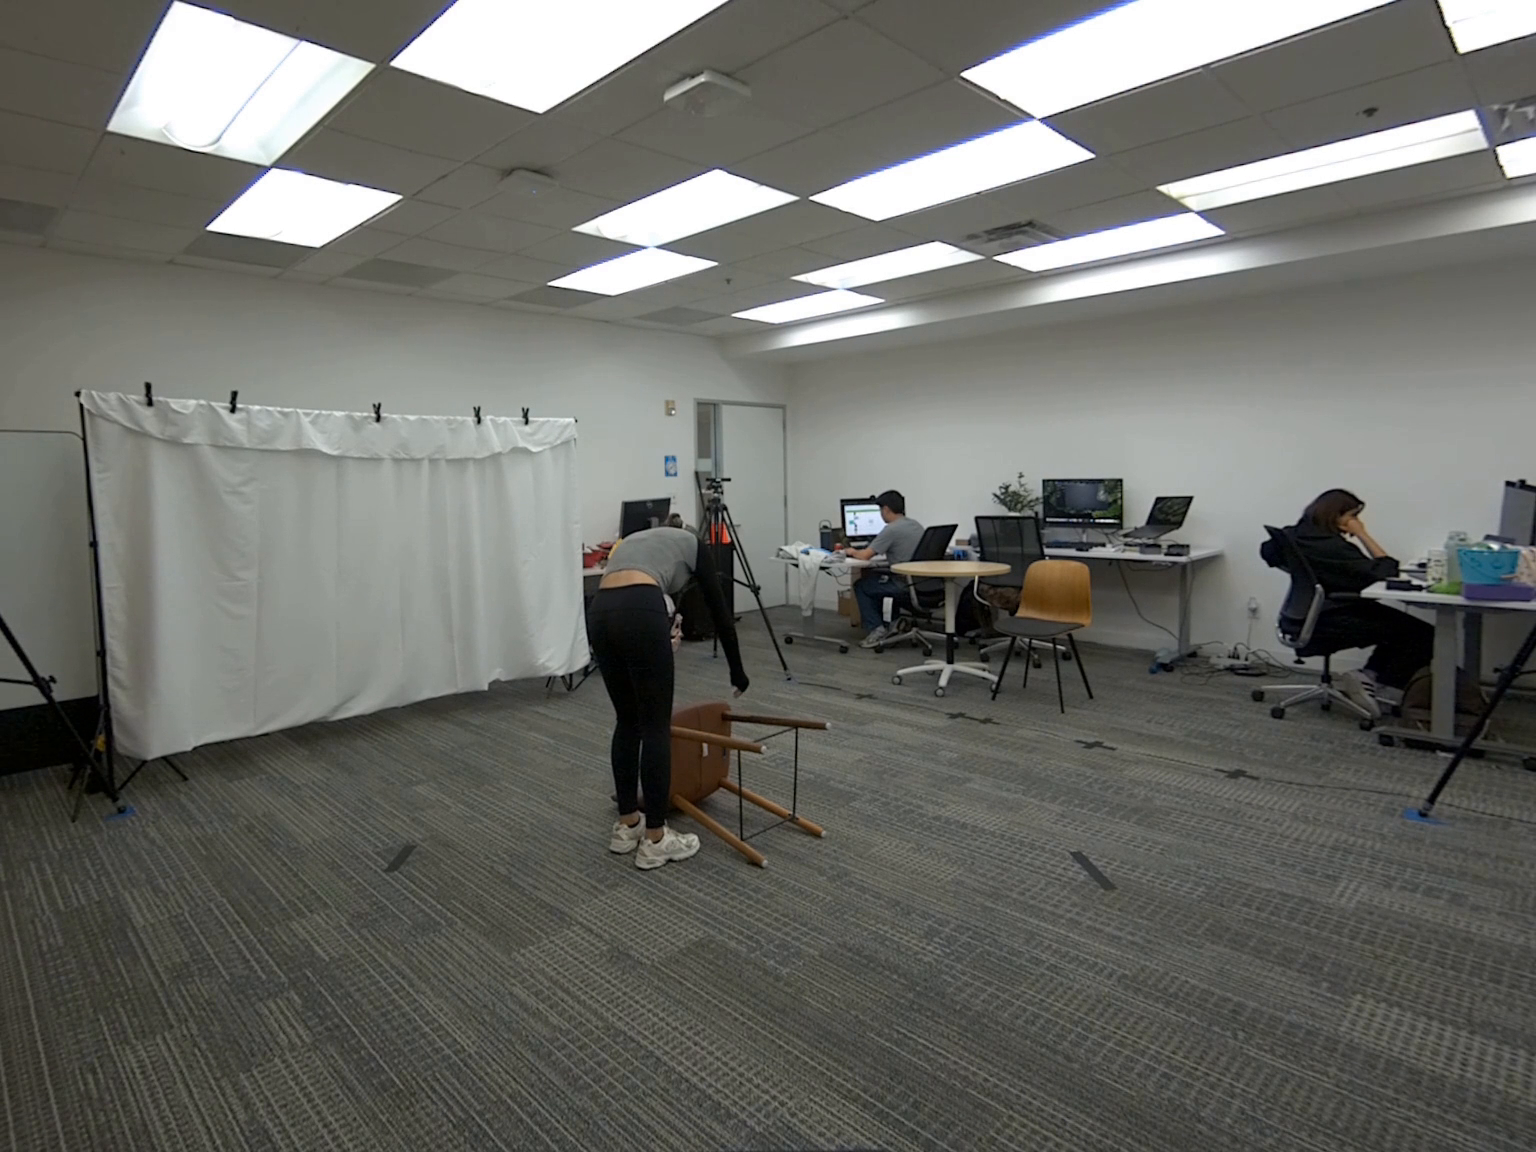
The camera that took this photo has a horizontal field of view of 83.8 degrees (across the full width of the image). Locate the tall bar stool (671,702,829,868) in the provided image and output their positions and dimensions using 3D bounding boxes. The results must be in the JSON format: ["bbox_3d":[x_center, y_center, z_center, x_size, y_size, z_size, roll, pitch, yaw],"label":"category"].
[{"bbox_3d":[-0.218,0.775,3.474,0.917,0.465,0.445,4,7,42],"label":"tall bar stool"}]
